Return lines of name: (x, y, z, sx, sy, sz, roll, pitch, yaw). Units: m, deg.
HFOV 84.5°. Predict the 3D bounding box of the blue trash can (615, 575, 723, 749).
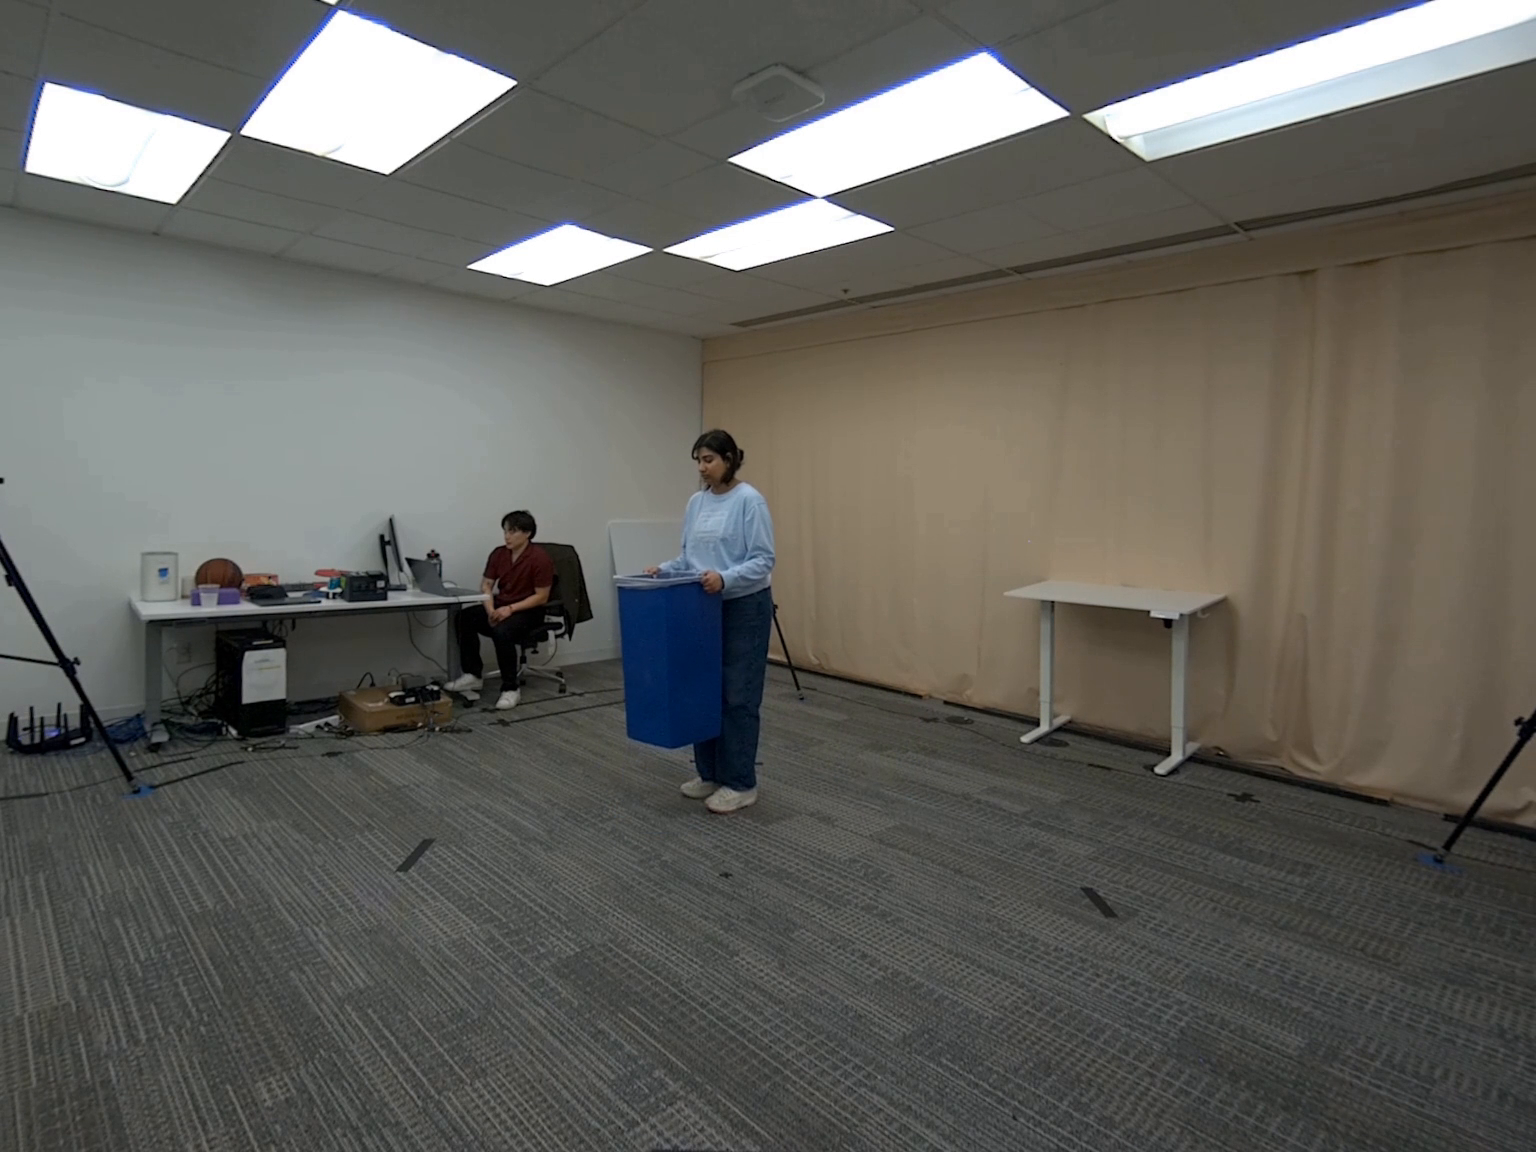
blue trash can: (-0.438, 0.355, 3.679, 0.387, 0.712, 0.366, 1, 4, 43)
